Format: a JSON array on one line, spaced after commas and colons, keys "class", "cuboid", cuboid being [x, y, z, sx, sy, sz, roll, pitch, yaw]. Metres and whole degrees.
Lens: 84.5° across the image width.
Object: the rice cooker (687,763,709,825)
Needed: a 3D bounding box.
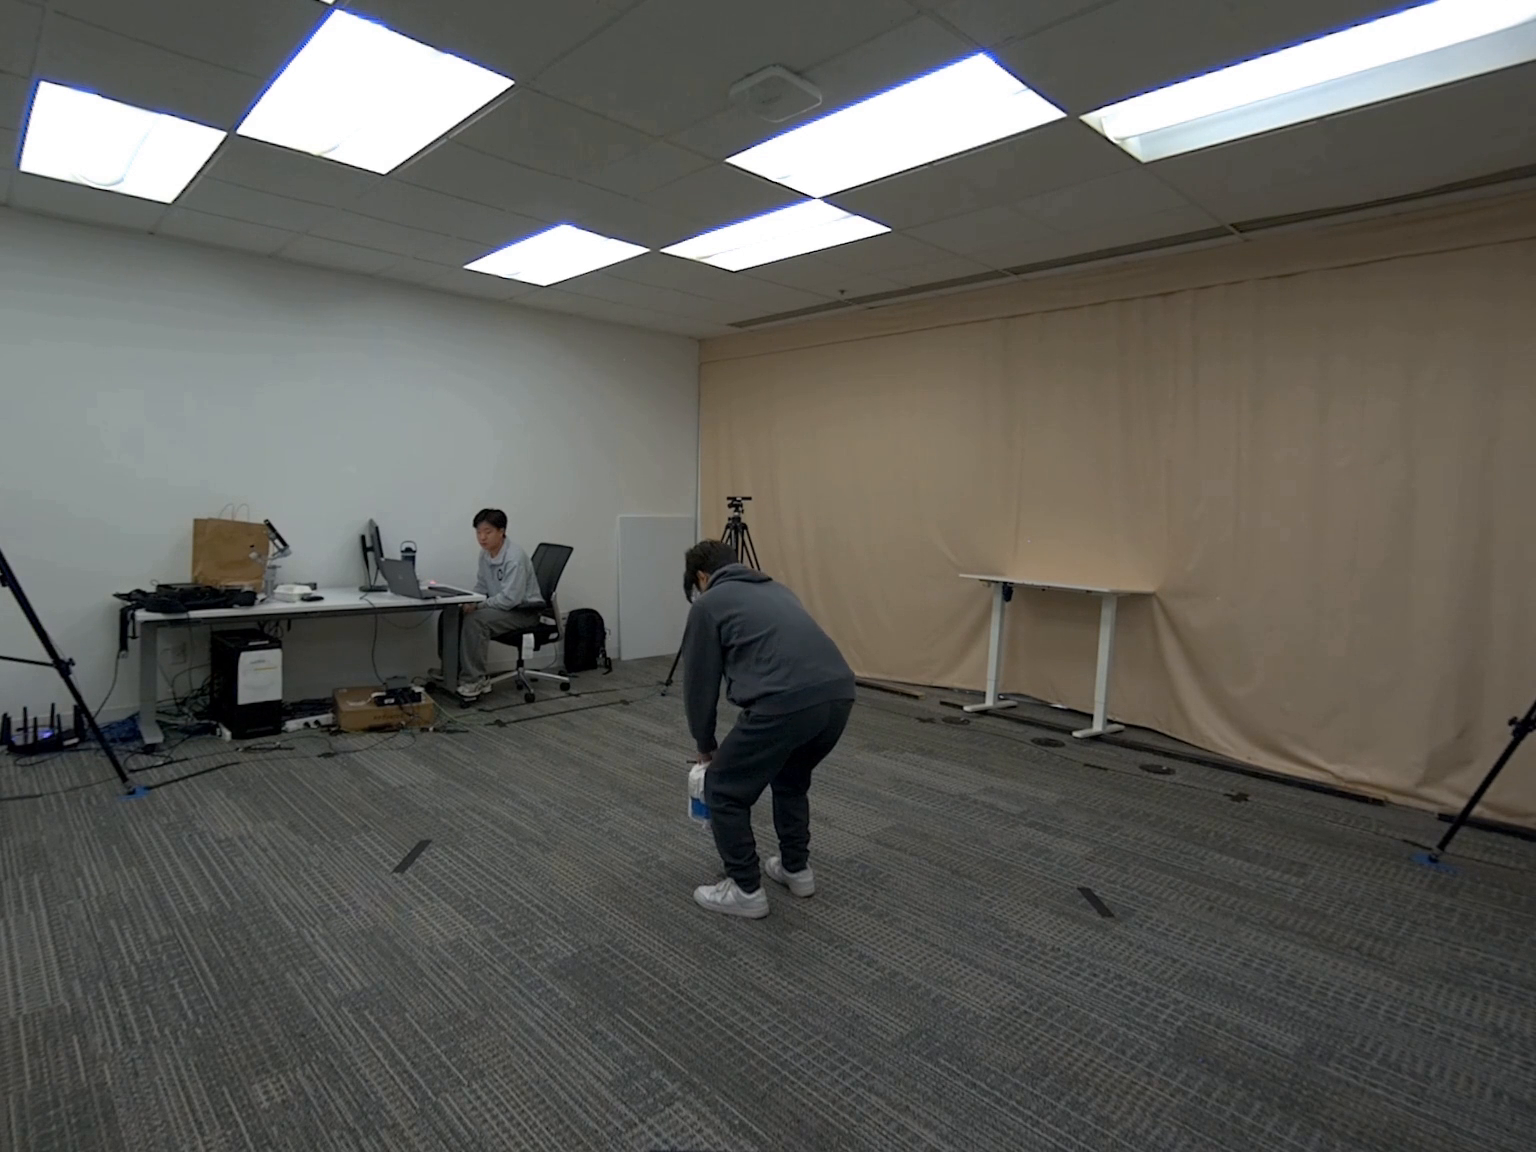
[{"class": "rice cooker", "cuboid": [-0.195, 0.791, 3.109, 0.216, 0.232, 0.222, 2, 4, -29]}]
